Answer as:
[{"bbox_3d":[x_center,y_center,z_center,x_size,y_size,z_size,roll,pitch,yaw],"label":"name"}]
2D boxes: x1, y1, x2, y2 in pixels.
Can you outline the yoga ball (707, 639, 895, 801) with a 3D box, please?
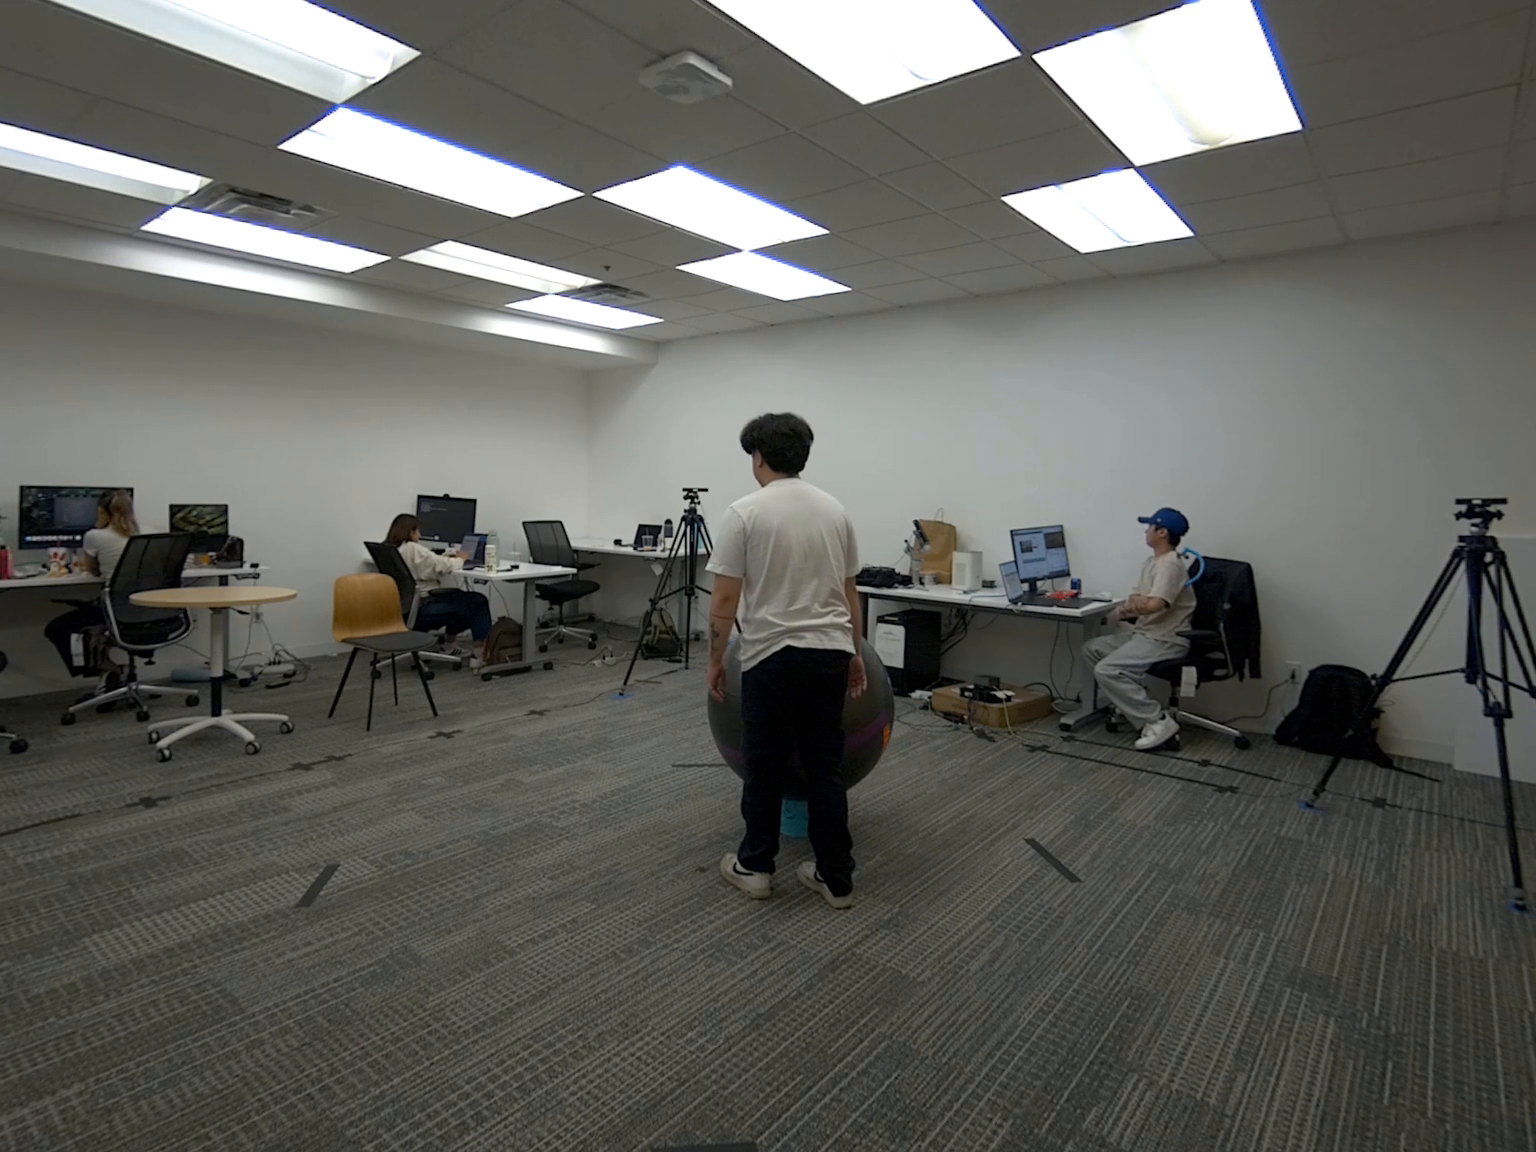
[{"bbox_3d":[0.128,0.523,3.481,0.757,0.755,0.762,1,4,-2],"label":"yoga ball"}]
